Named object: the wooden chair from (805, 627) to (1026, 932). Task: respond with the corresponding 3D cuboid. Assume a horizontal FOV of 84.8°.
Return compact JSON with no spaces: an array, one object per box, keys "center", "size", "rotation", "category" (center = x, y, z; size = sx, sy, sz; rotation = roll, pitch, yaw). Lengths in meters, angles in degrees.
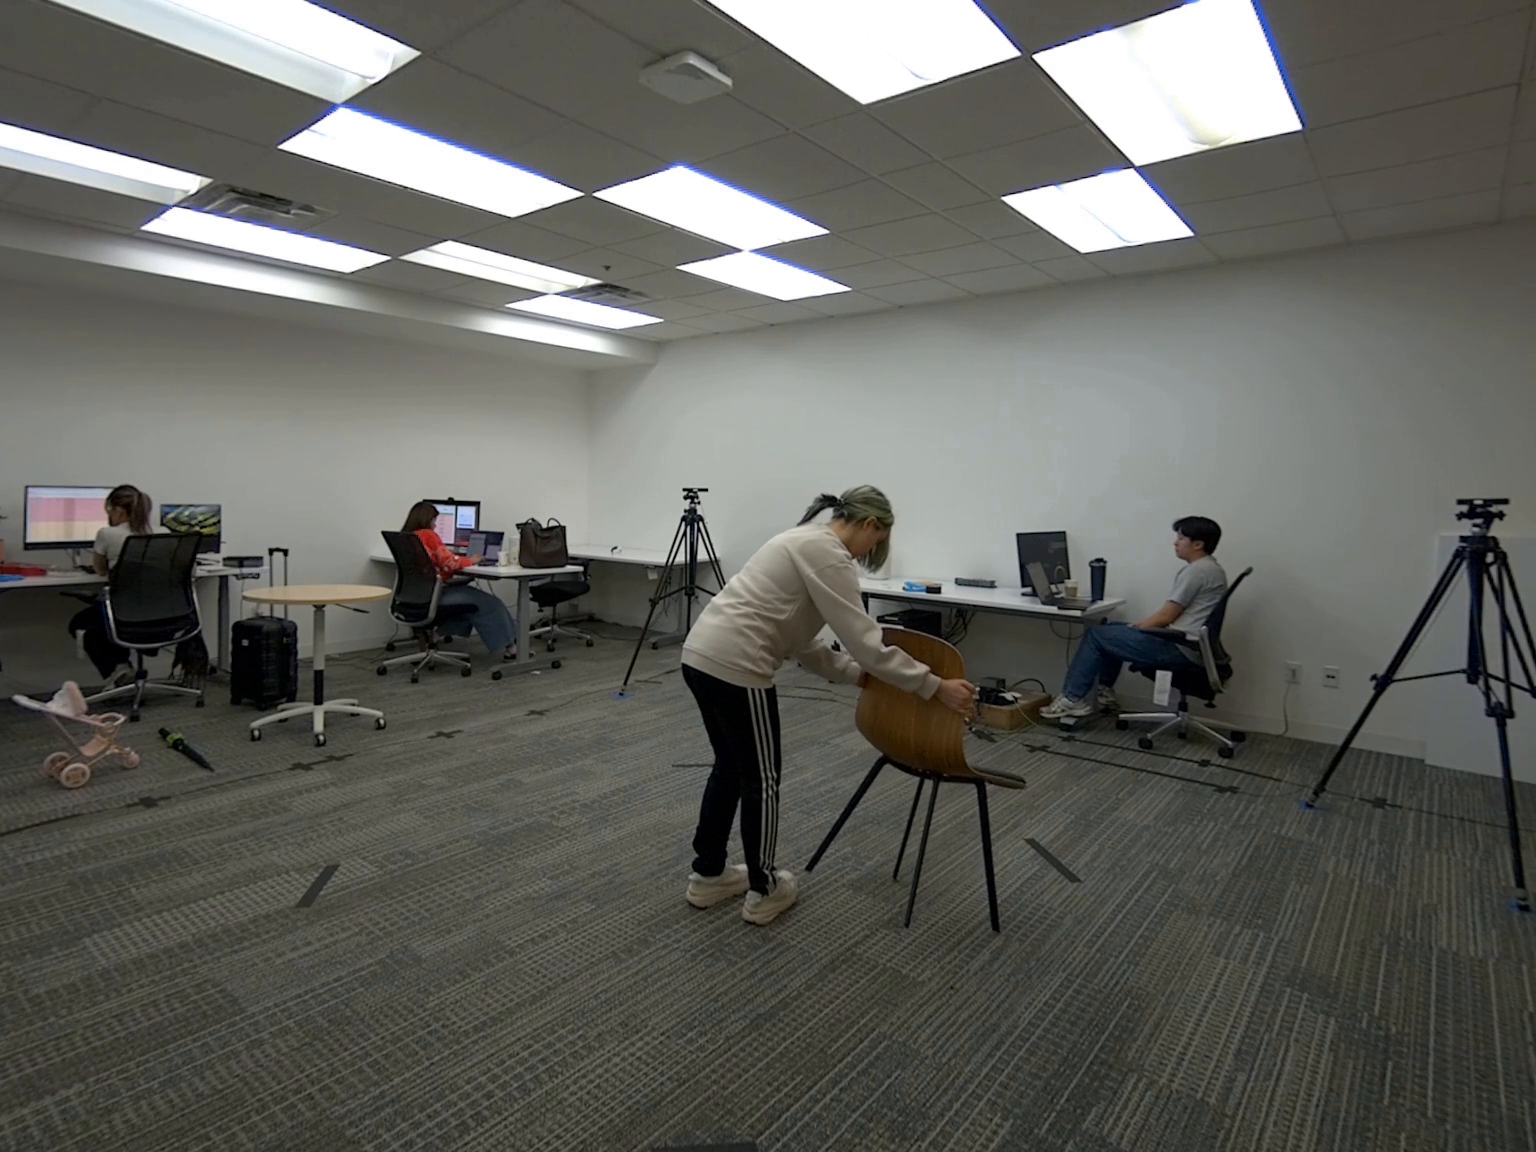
[{"center":[0.538,0.648,2.811],"size":[0.504,0.880,0.494],"rotation":[14,-5,-37],"category":"wooden chair"}]
